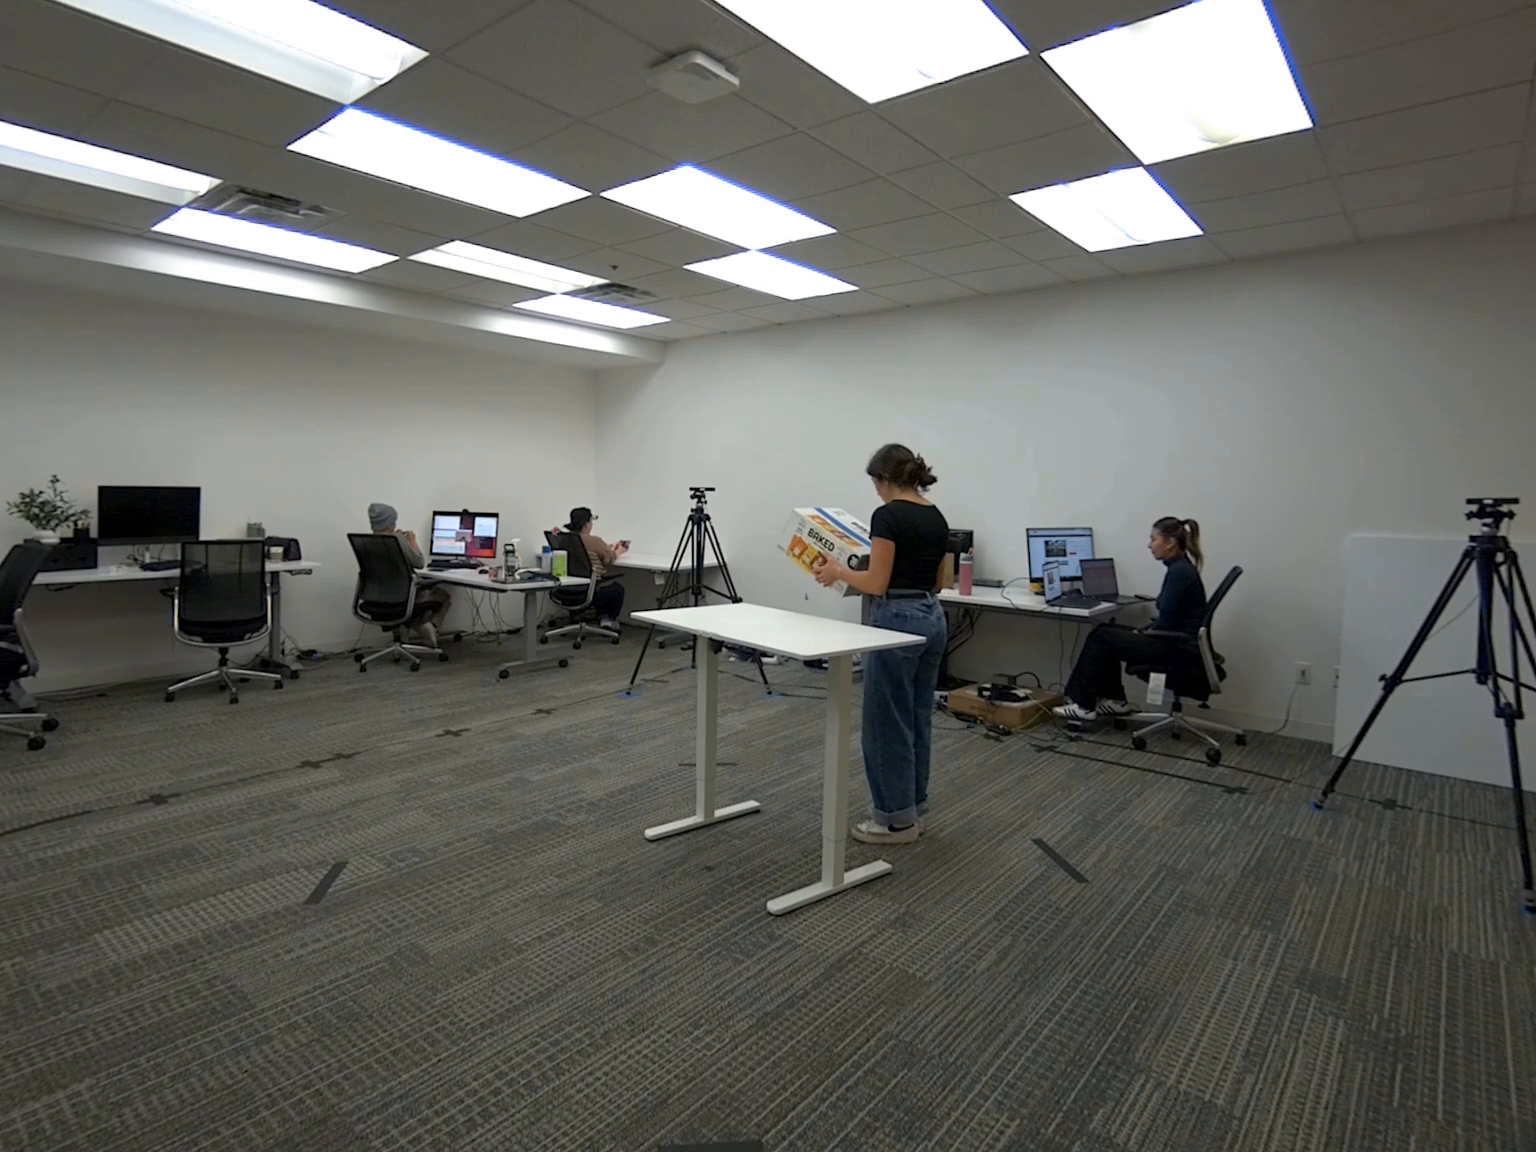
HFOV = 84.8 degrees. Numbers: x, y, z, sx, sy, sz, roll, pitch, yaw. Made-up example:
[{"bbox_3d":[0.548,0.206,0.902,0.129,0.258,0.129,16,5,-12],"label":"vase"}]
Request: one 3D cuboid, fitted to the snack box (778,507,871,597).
[{"bbox_3d":[0.303,-0.115,3.683,0.330,0.203,0.422,-4,33,-47],"label":"snack box"}]
